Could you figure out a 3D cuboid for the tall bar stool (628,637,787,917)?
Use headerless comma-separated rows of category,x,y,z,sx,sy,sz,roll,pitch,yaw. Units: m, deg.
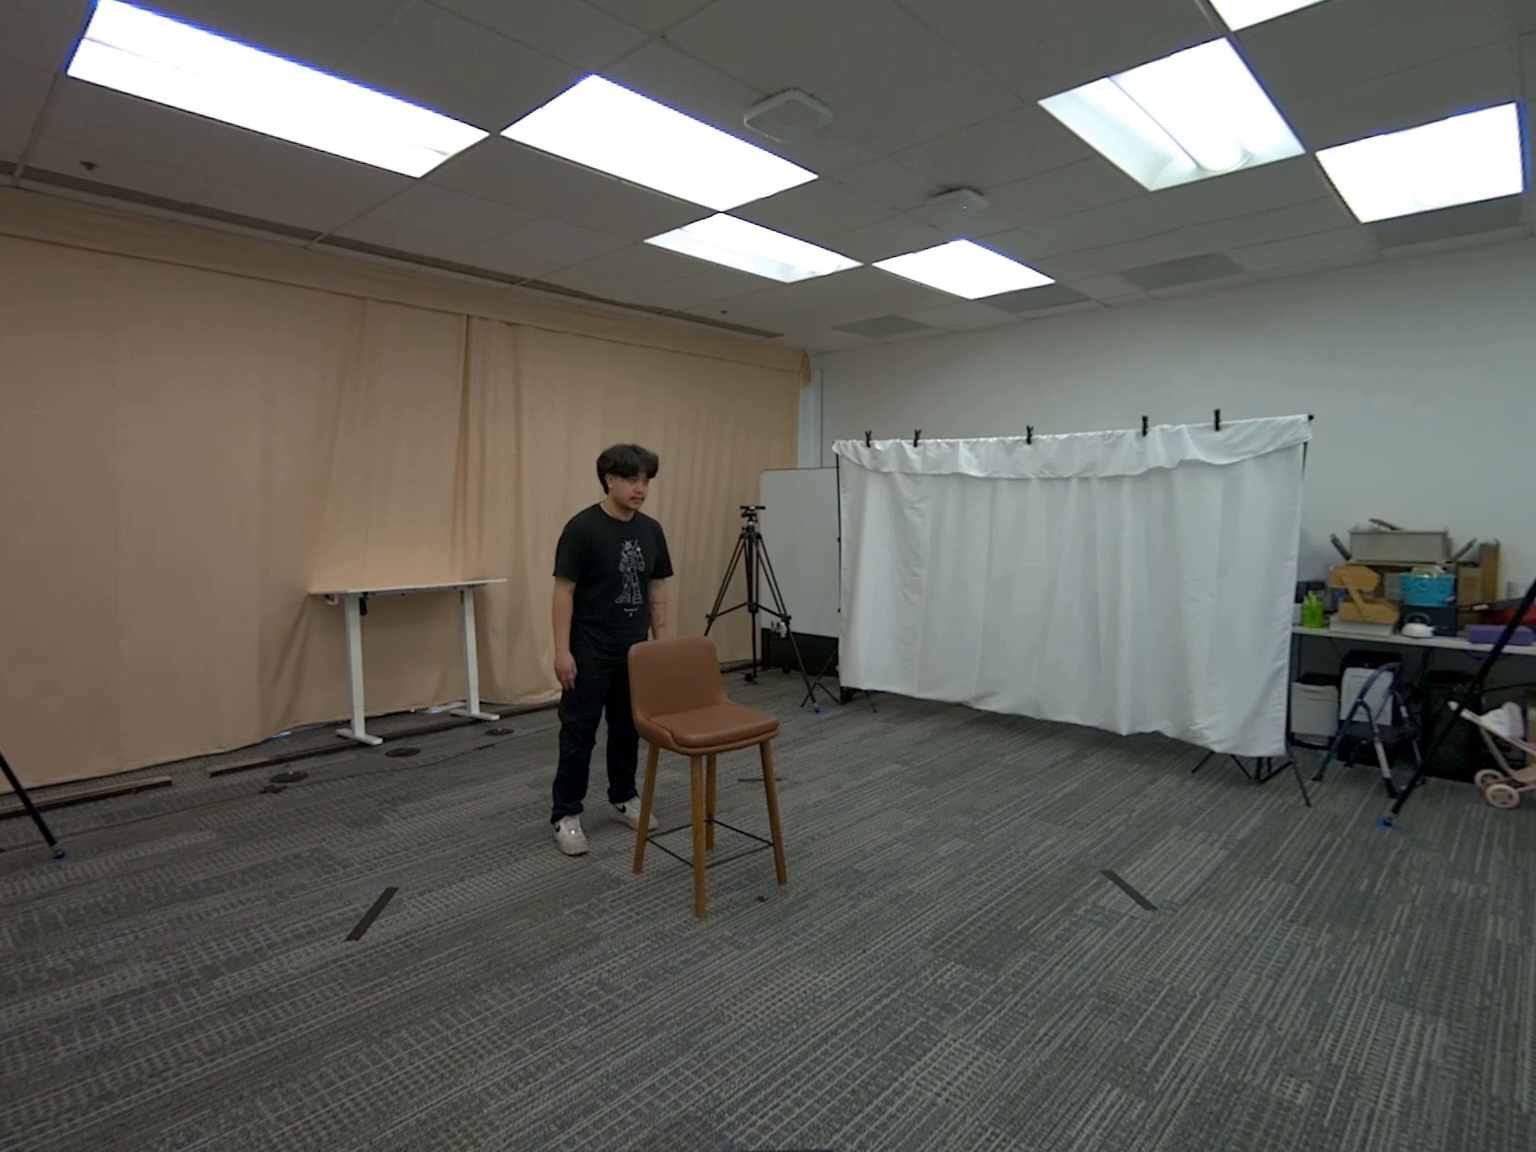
tall bar stool,-0.236,0.698,3.135,0.443,0.889,0.482,-3,2,-39
